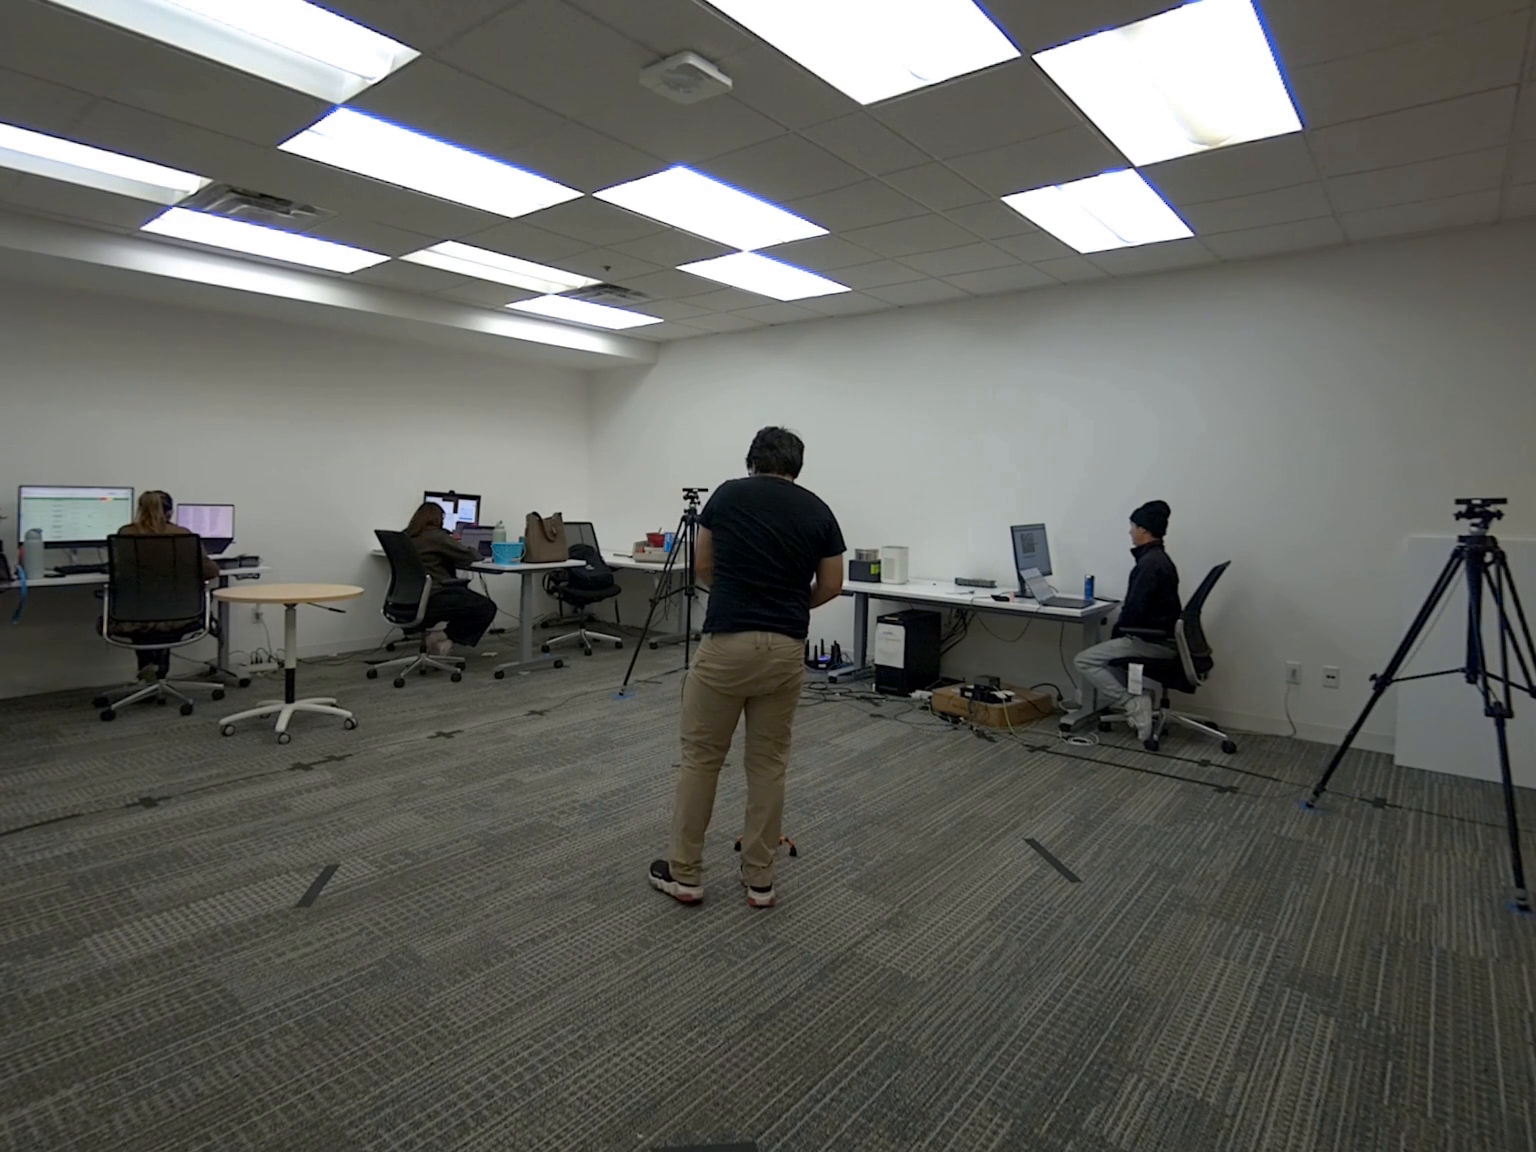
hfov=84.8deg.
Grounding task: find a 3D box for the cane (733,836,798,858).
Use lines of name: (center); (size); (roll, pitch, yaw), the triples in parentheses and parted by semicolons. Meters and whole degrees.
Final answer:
cane: (-0.012, 0.604, 3.243); (0.201, 0.905, 0.156); (-1, 4, -26)
